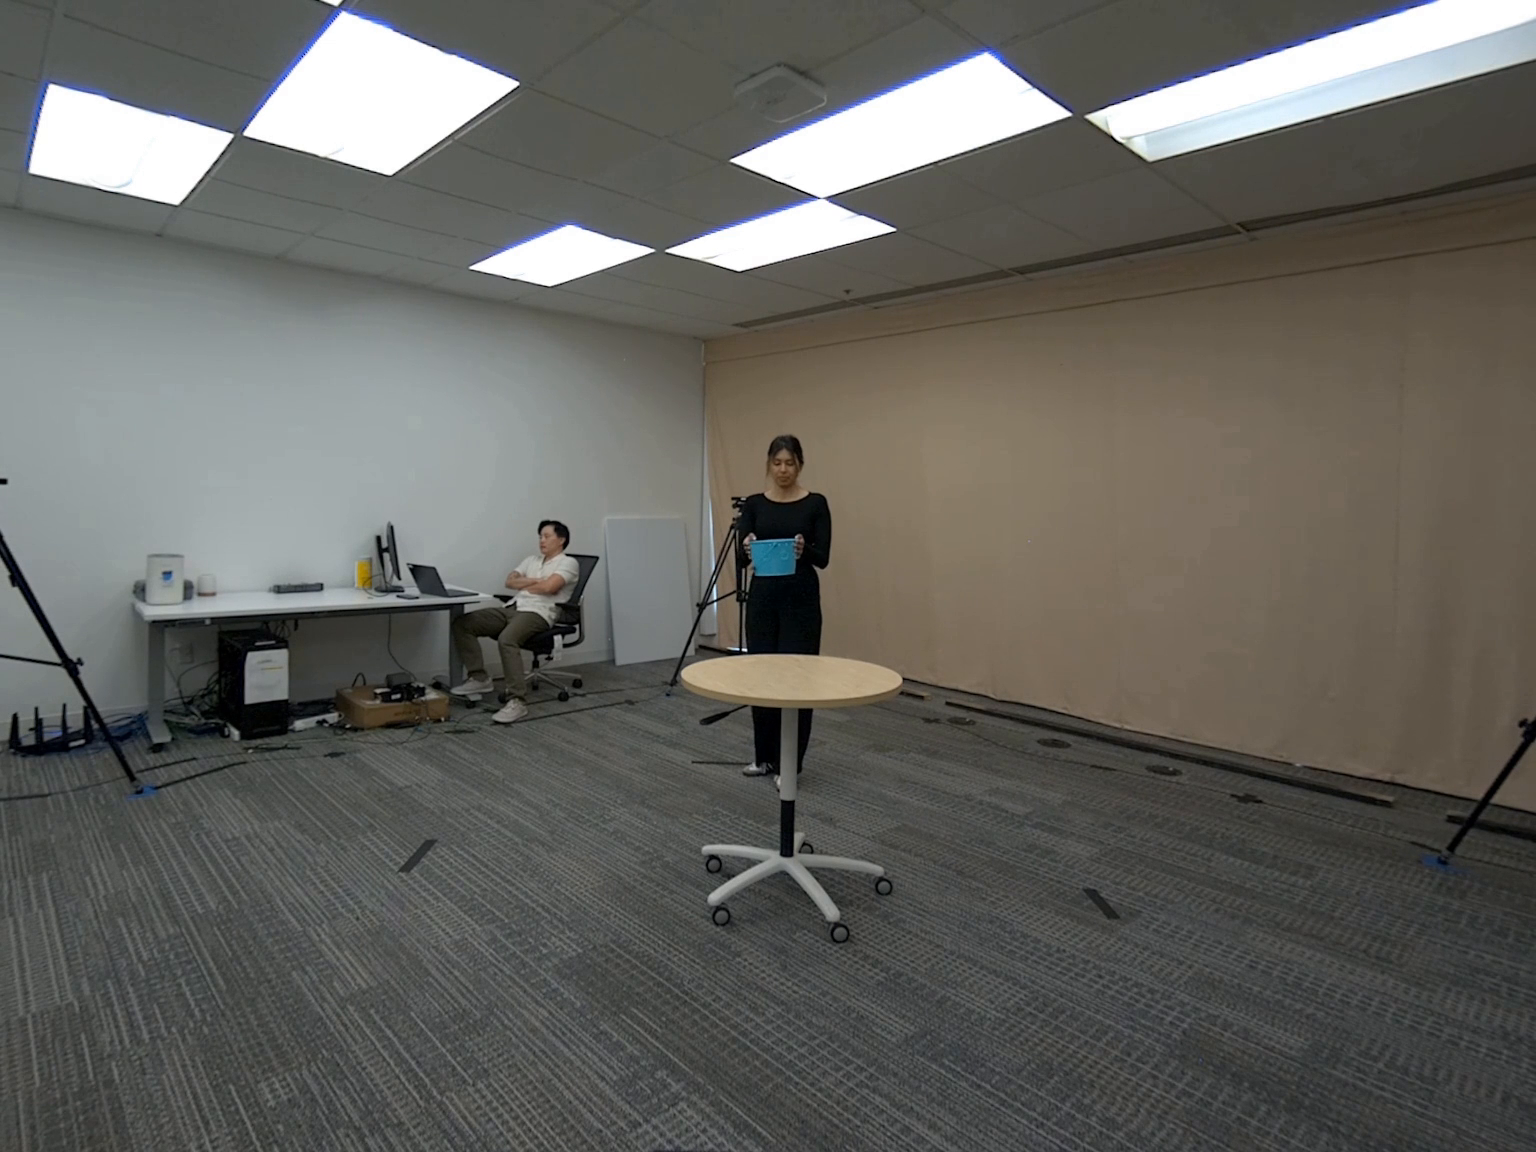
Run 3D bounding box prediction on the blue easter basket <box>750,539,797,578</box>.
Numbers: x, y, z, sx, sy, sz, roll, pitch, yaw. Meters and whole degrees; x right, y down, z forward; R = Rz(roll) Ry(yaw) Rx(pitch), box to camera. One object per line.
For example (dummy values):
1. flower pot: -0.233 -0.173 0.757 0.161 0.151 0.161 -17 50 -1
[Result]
1. blue easter basket: 0.033 -0.079 3.811 0.243 0.156 0.243 -2 0 -1
